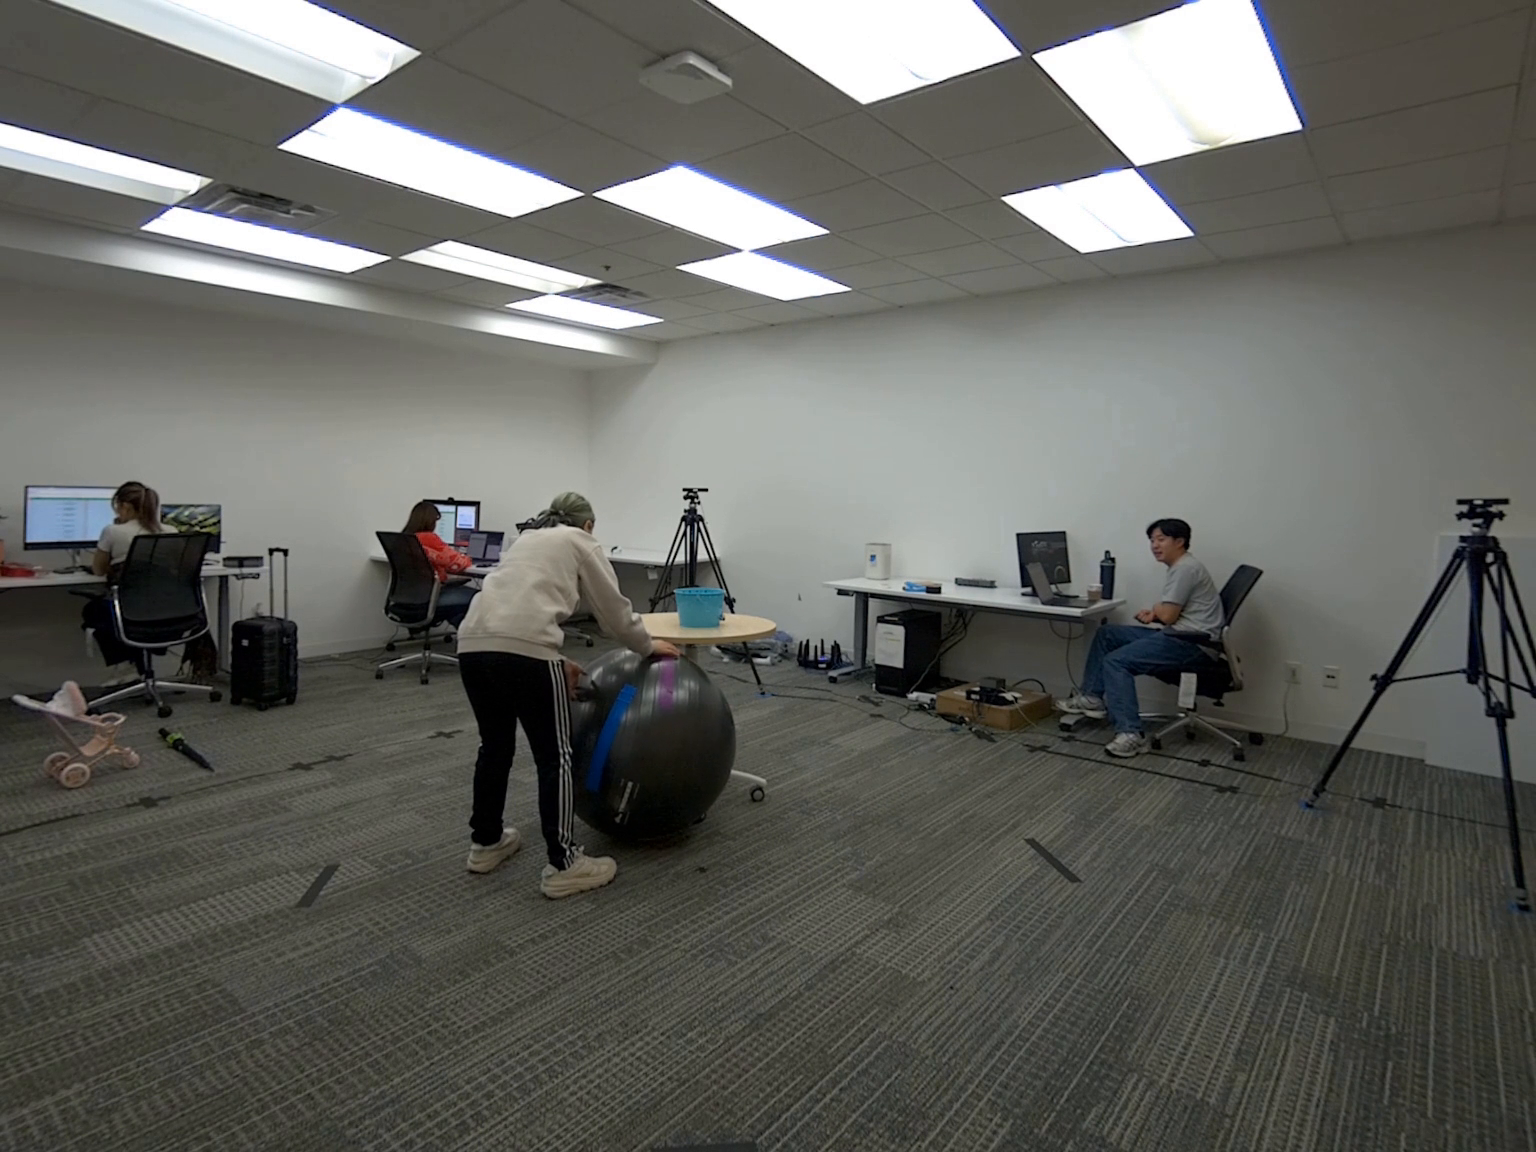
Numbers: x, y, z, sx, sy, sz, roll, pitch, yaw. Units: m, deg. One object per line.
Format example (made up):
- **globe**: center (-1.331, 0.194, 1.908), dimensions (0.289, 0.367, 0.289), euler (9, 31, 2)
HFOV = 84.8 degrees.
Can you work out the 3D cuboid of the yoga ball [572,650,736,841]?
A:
- **yoga ball**: center (-0.519, 0.662, 3.421), dimensions (0.757, 0.756, 0.761), euler (1, 4, -2)
